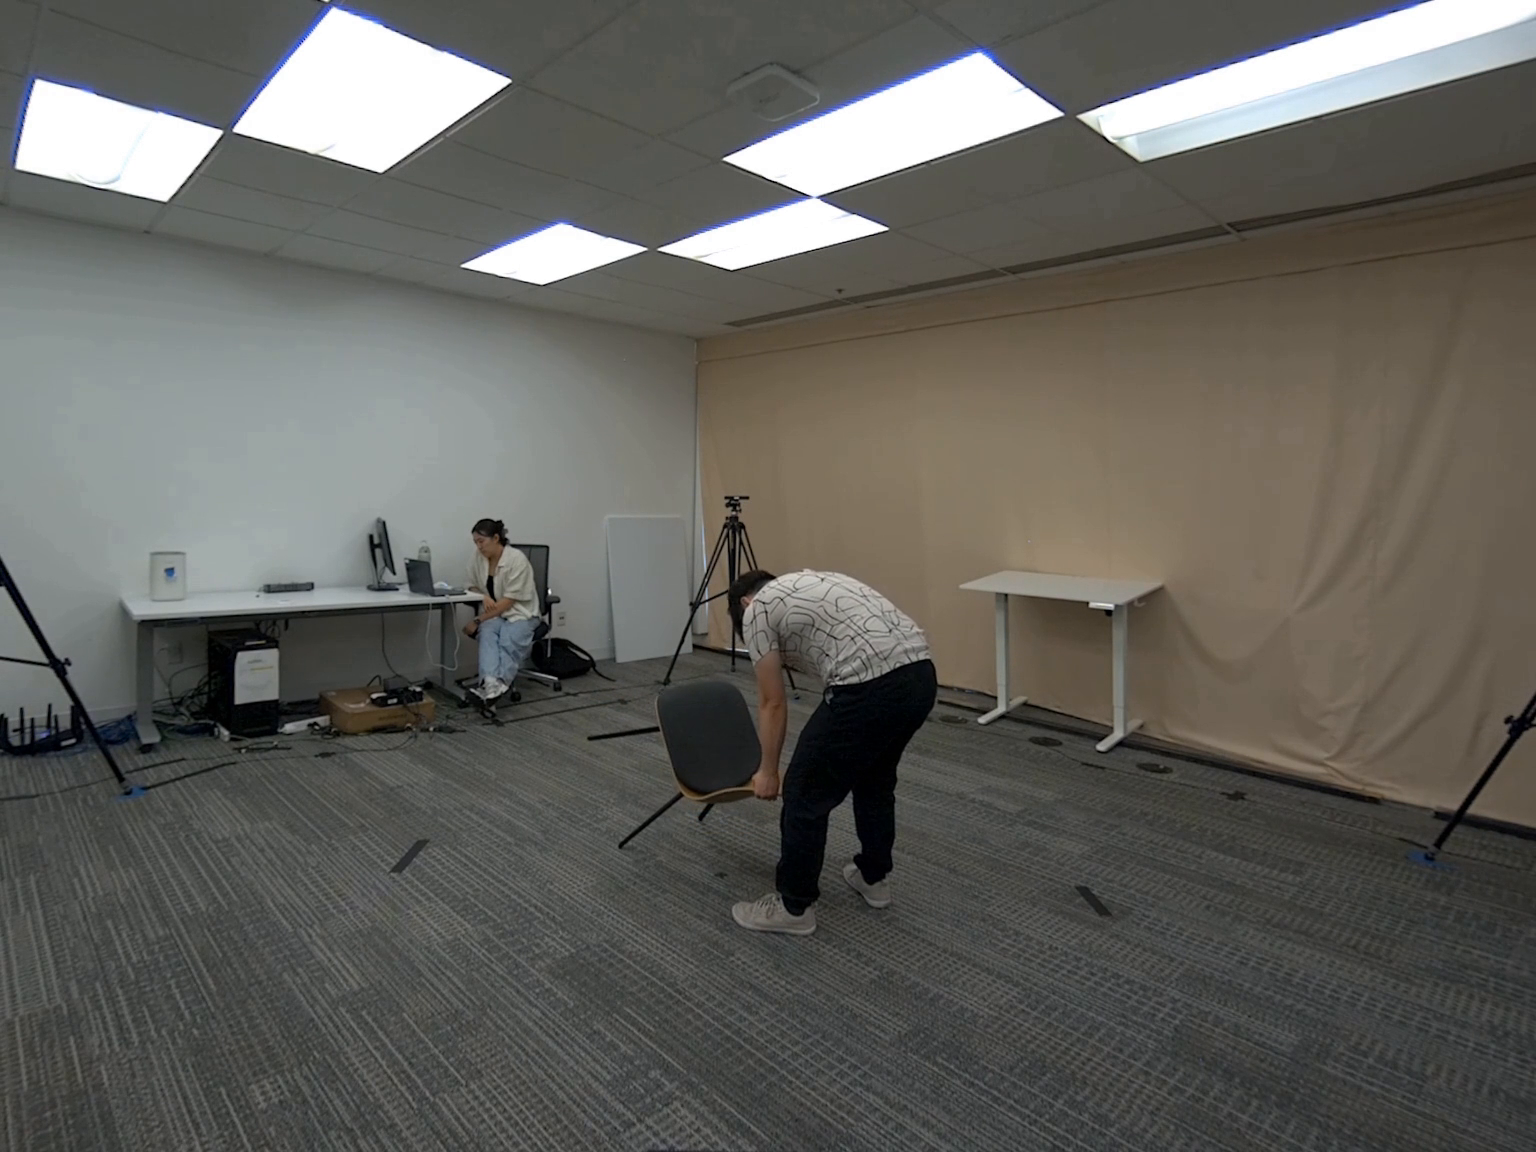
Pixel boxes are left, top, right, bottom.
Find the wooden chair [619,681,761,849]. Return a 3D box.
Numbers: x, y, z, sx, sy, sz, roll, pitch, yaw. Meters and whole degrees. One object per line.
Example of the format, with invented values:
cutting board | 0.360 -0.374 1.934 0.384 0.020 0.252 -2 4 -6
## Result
wooden chair | -0.235 0.674 3.273 0.467 0.530 0.886 -1 -19 -46
